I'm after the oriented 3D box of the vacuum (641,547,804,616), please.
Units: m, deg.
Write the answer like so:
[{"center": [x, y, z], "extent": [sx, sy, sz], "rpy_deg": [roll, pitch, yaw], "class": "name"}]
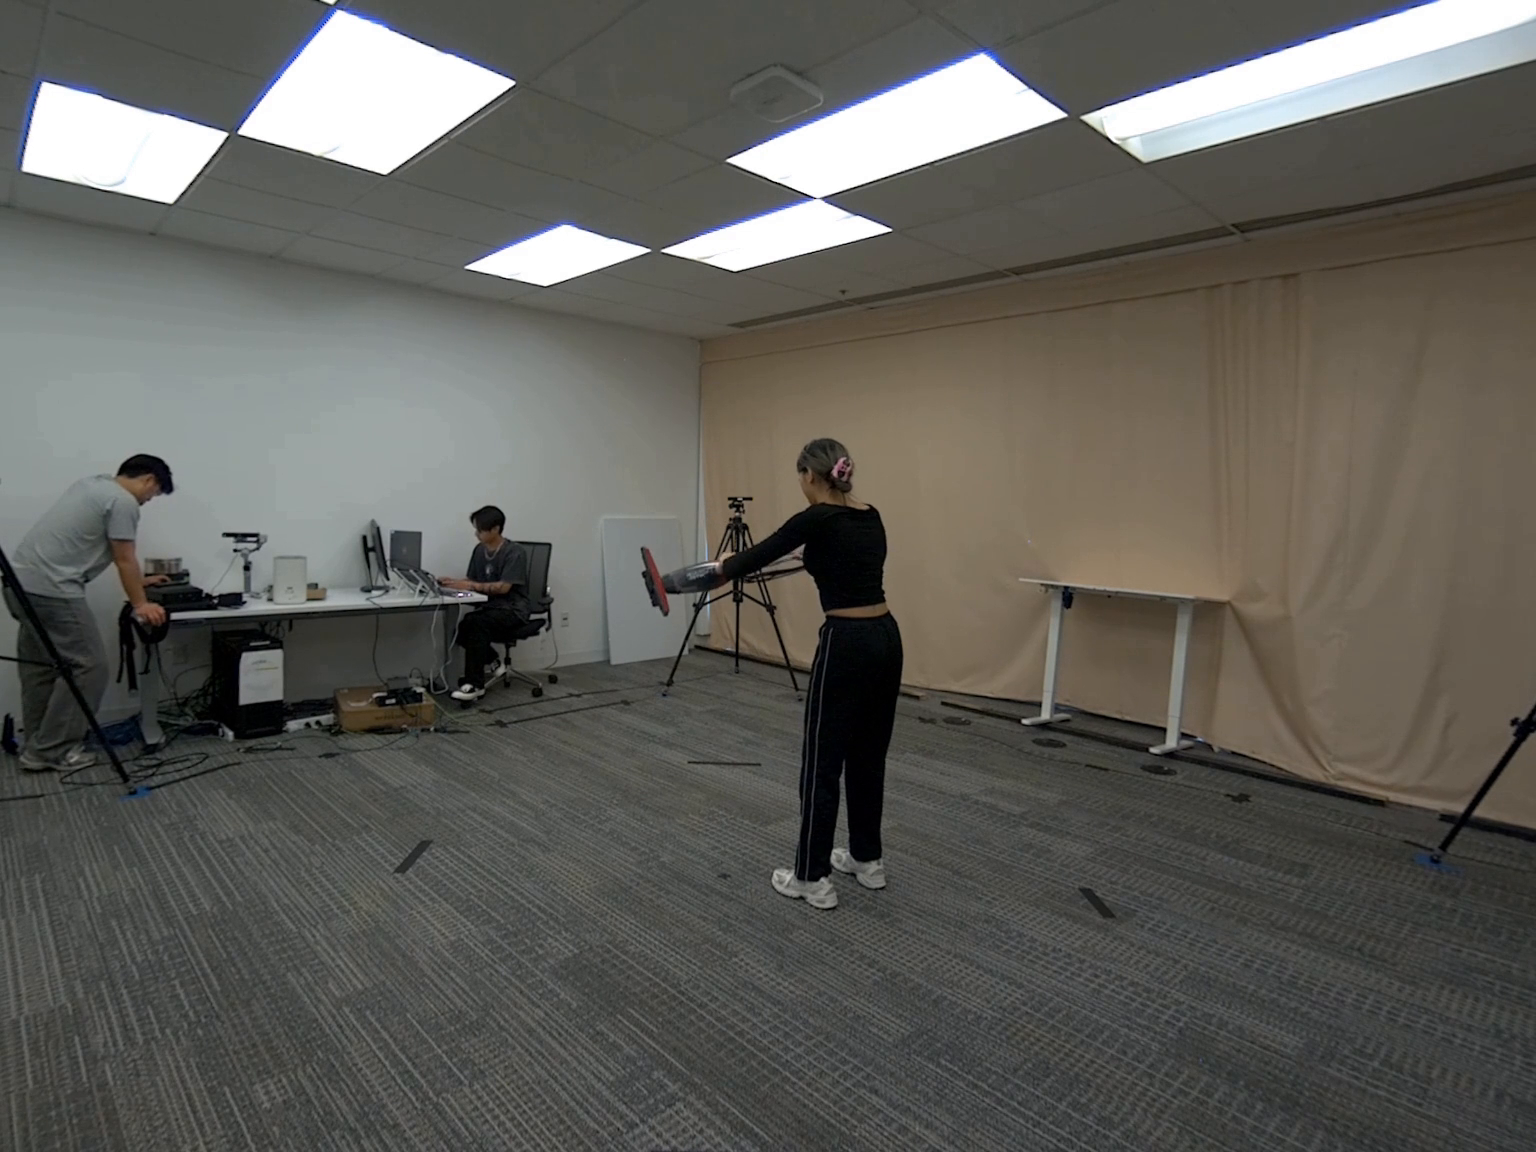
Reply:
[{"center": [-0.046, -0.033, 3.301], "extent": [1.028, 0.256, 0.145], "rpy_deg": [-9, -19, -42], "class": "vacuum"}]
